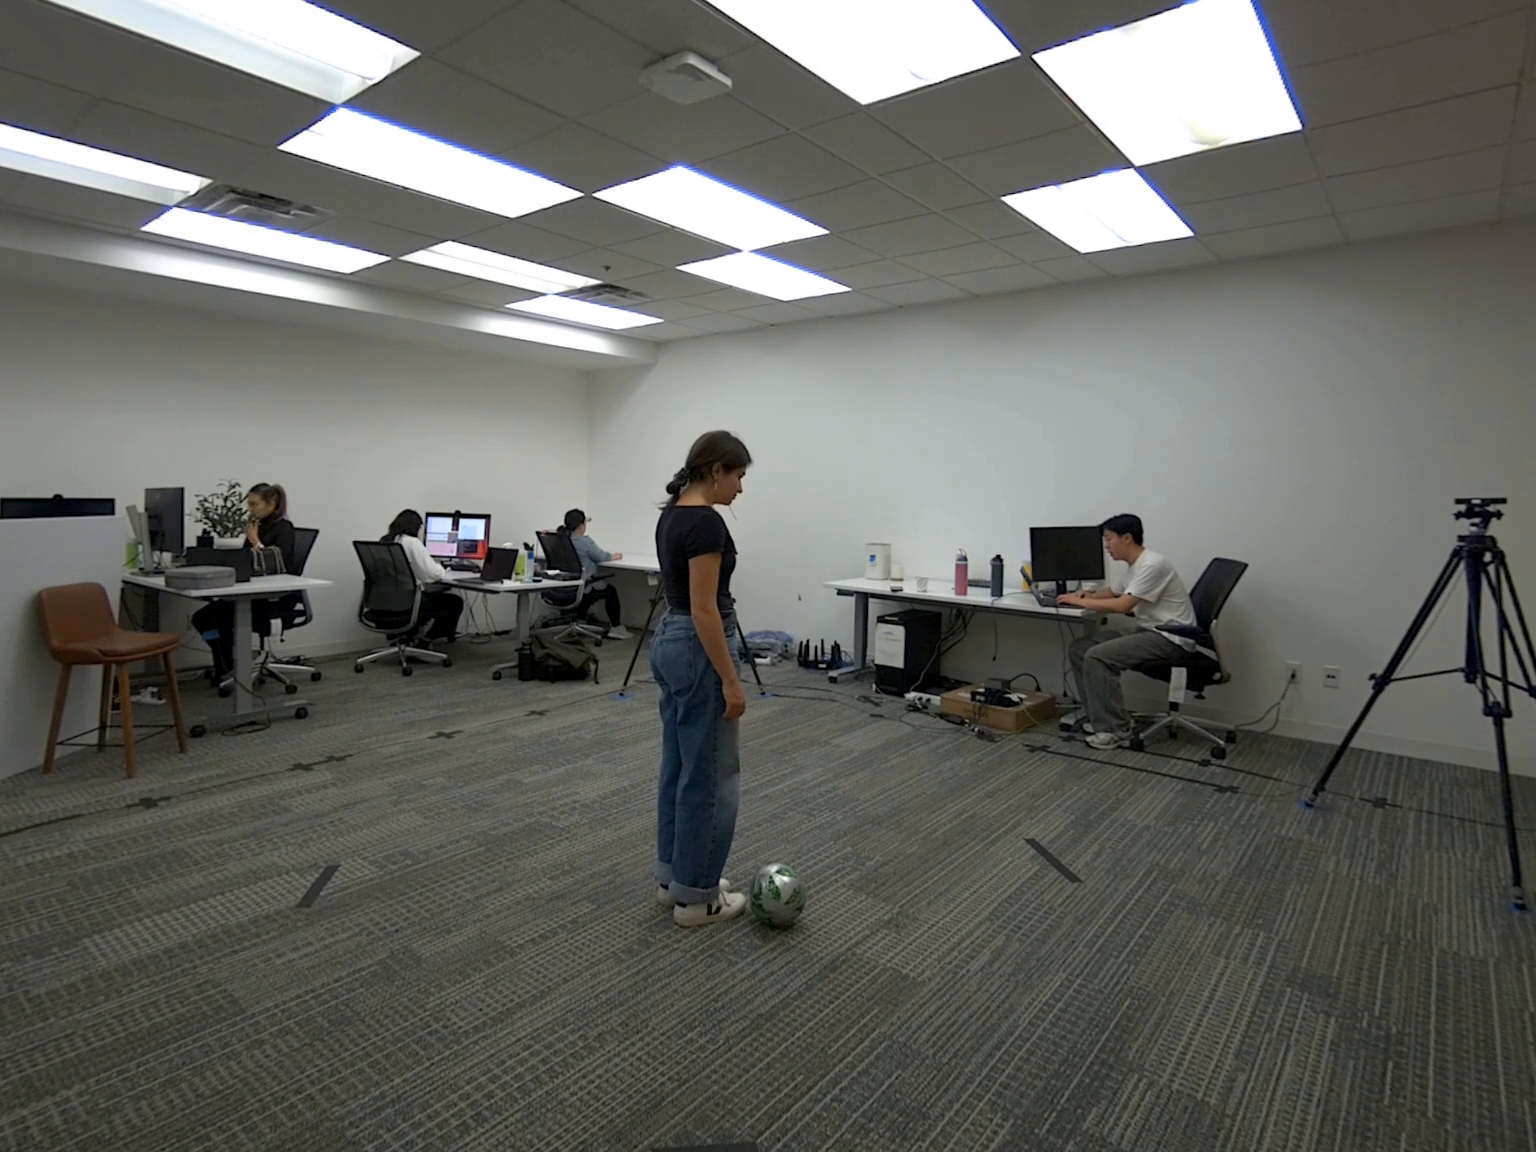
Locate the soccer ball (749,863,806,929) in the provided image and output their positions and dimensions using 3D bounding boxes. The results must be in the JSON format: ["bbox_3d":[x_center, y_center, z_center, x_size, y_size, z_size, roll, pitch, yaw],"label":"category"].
[{"bbox_3d":[0.030,1.023,2.727,0.187,0.187,0.188,1,4,-2],"label":"soccer ball"}]
